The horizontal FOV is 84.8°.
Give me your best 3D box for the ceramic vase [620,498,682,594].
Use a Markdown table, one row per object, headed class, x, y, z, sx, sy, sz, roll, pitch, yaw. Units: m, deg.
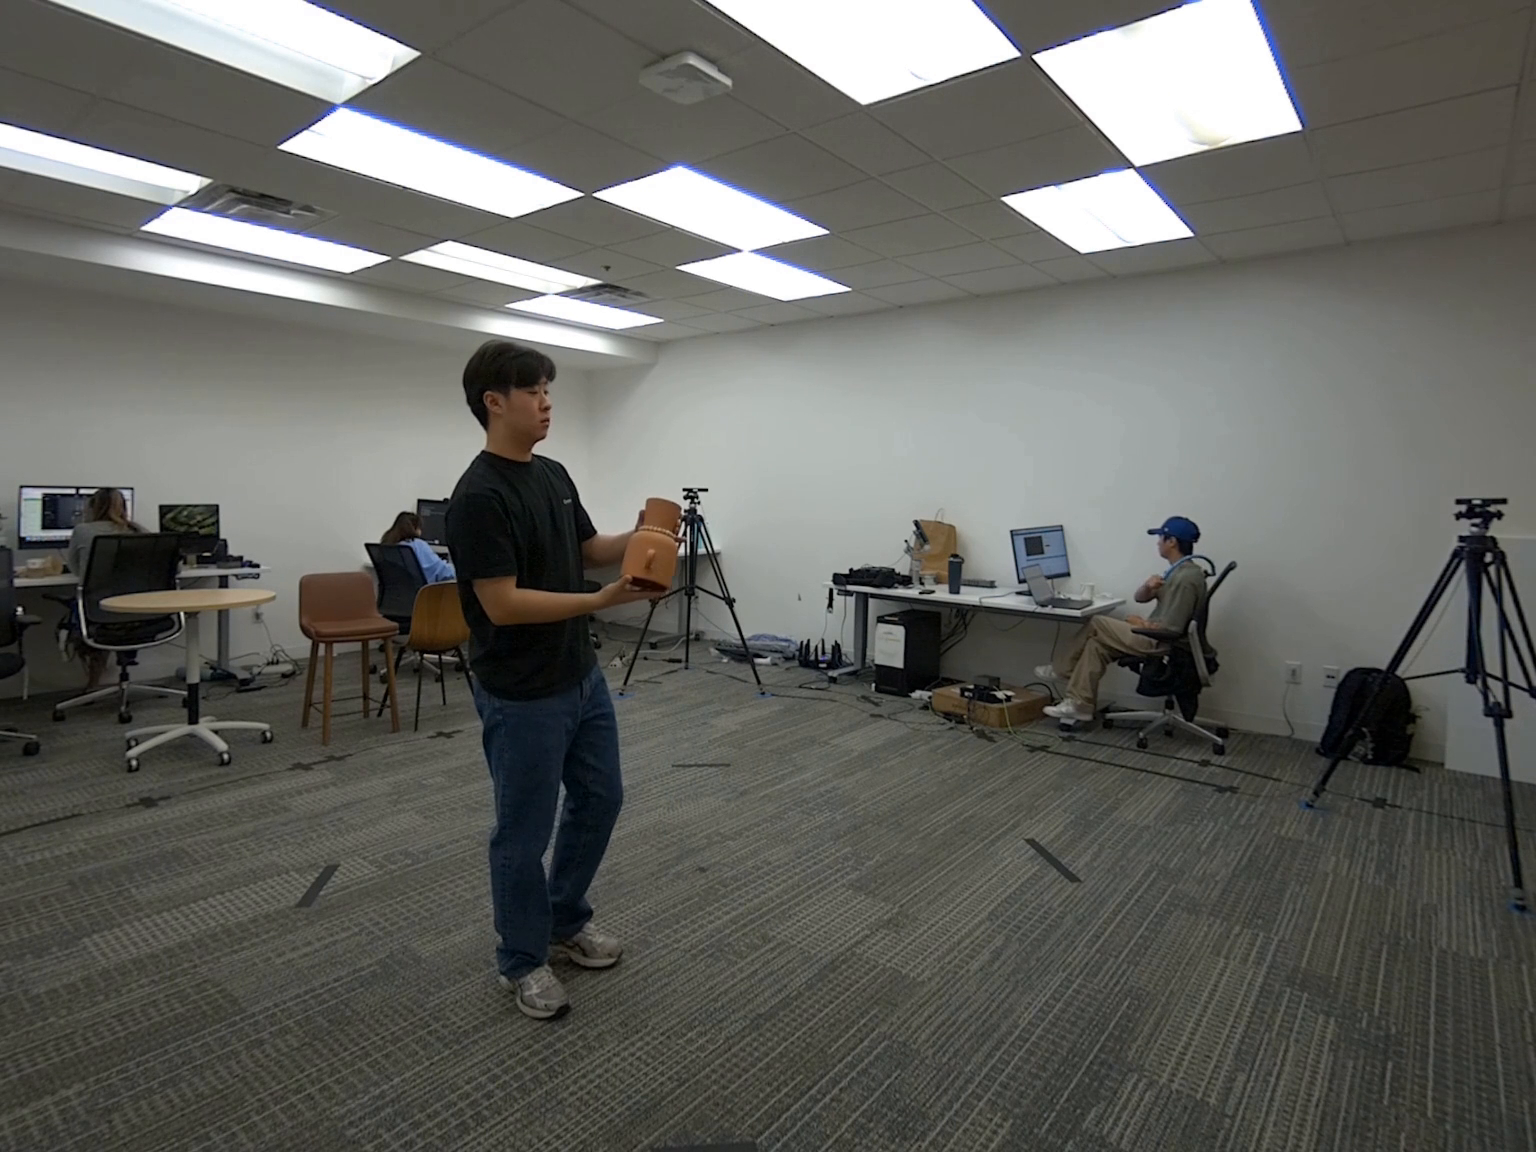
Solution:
| class | x | y | z | sx | sy | sz | roll | pitch | yaw |
| --- | --- | --- | --- | --- | --- | --- | --- | --- | --- |
| ceramic vase | -0.311 | -0.085 | 2.191 | 0.163 | 0.222 | 0.129 | -4 | -22 | 43 |
